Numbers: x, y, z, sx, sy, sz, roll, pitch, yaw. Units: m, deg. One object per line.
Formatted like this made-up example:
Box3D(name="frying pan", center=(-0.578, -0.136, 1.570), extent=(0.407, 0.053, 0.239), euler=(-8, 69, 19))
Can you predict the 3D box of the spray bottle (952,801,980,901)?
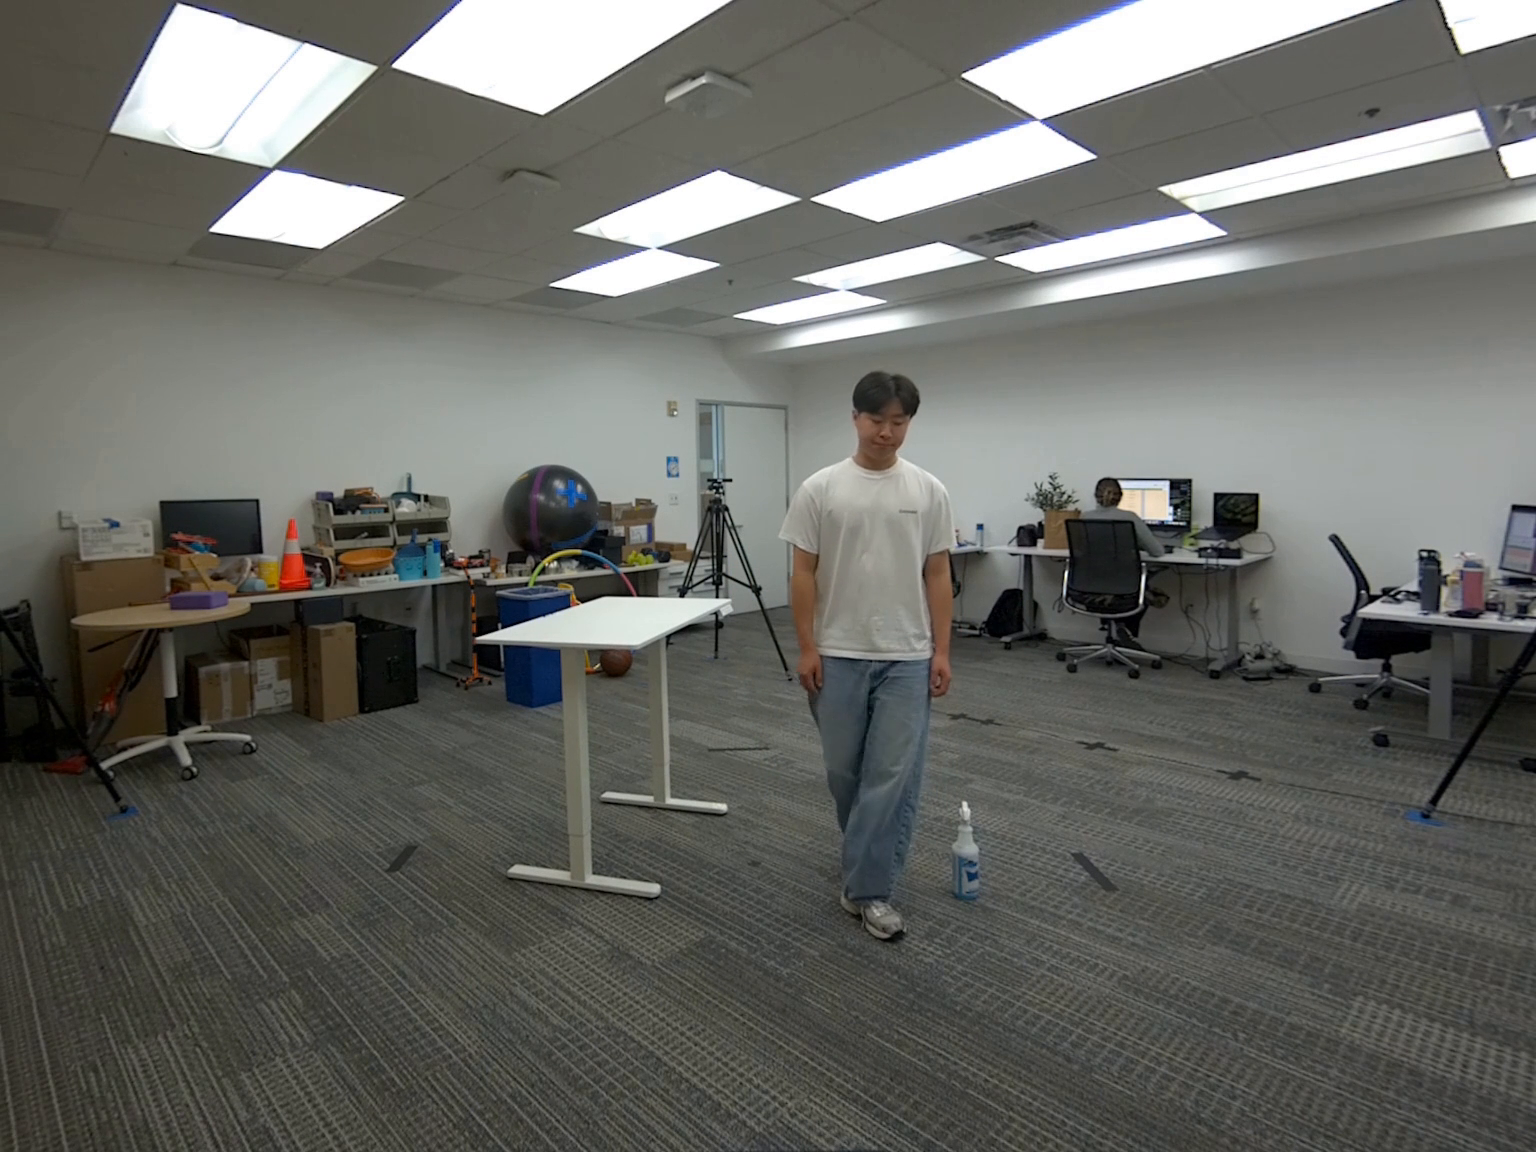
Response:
Box3D(name="spray bottle", center=(0.661, 0.915, 2.846), extent=(0.089, 0.297, 0.088), euler=(2, 3, 36))
